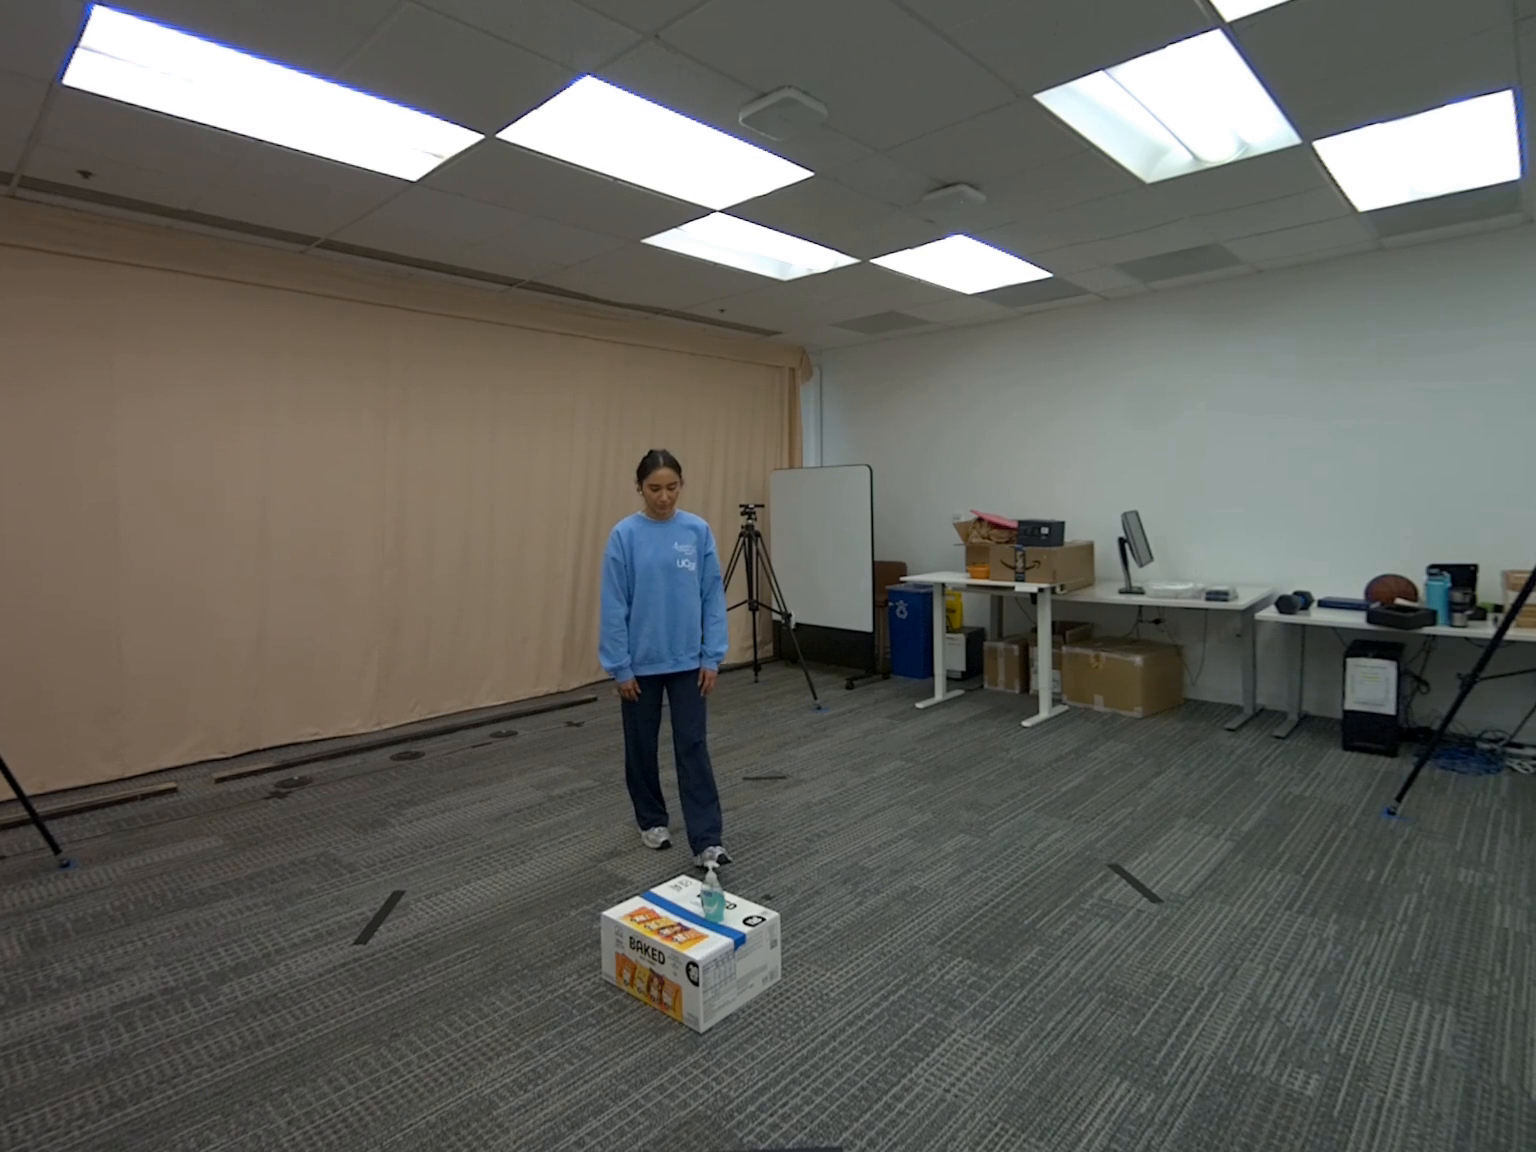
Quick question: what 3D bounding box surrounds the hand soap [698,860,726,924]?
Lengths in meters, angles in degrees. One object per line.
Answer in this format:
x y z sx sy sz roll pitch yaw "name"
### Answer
-0.153 0.907 2.433 0.087 0.168 0.042 -2 2 41 "hand soap"
